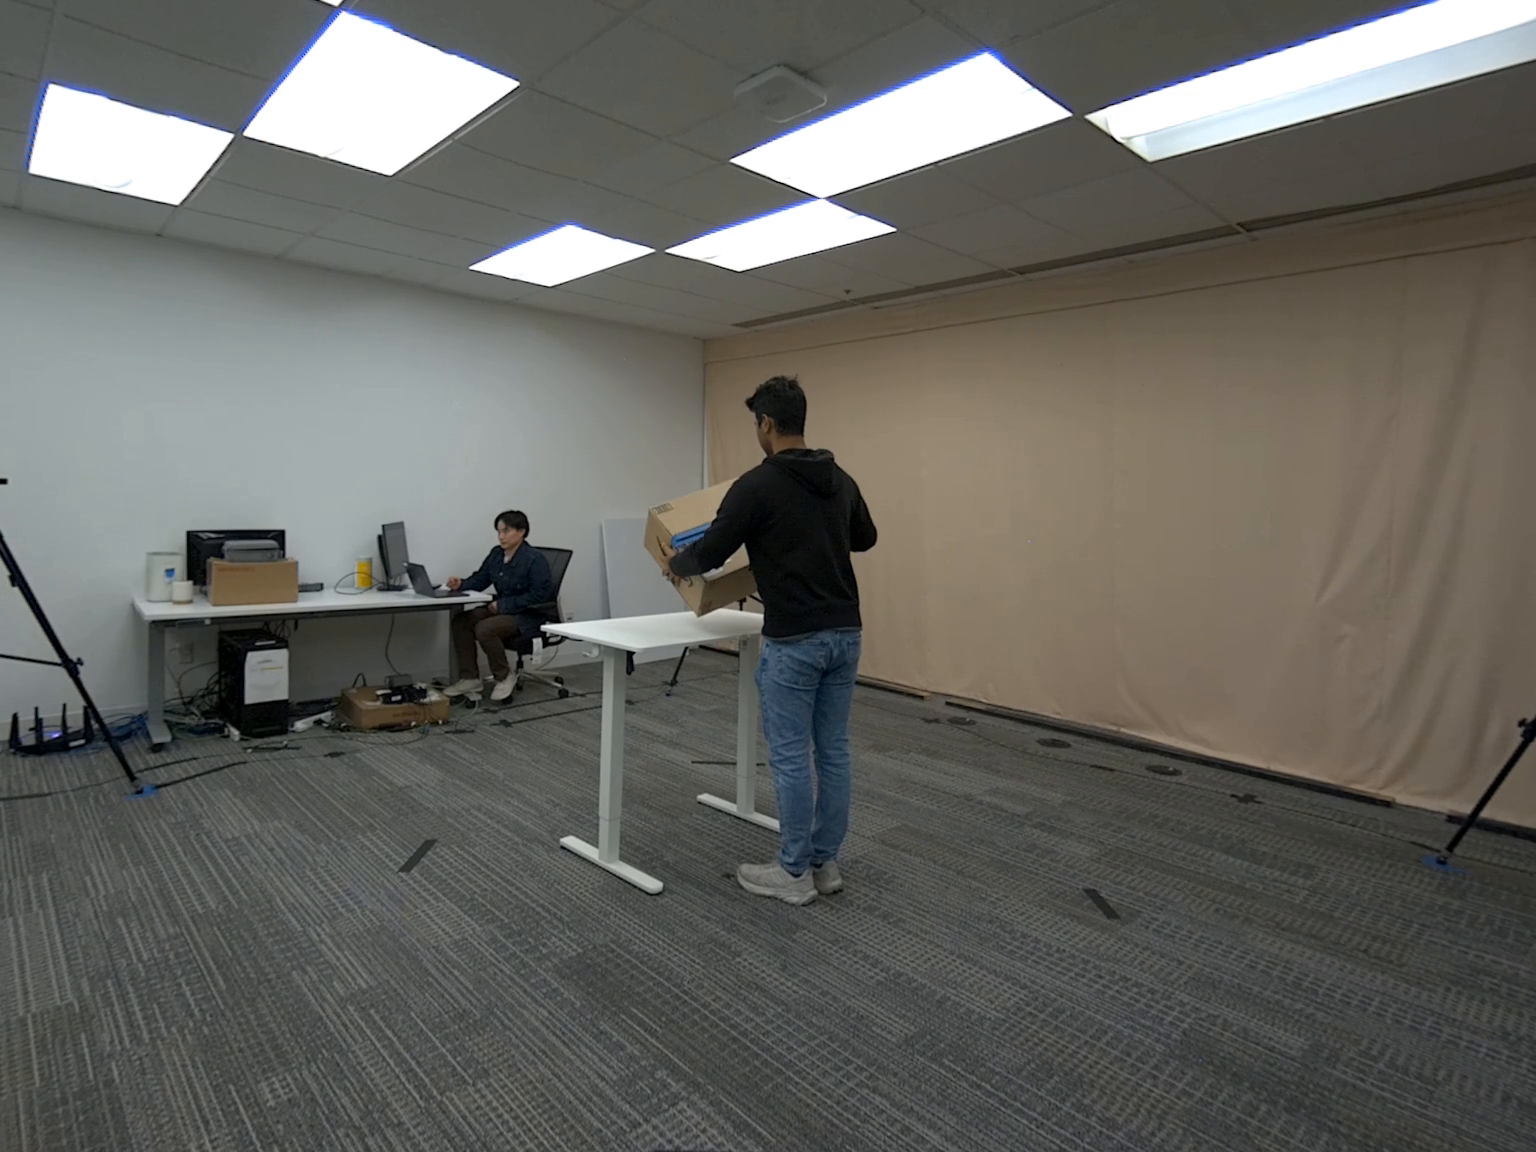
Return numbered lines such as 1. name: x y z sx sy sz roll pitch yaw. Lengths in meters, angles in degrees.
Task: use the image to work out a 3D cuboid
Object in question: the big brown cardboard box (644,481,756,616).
1. big brown cardboard box: -0.149 -0.140 3.356 0.582 0.229 0.429 -22 56 -30
